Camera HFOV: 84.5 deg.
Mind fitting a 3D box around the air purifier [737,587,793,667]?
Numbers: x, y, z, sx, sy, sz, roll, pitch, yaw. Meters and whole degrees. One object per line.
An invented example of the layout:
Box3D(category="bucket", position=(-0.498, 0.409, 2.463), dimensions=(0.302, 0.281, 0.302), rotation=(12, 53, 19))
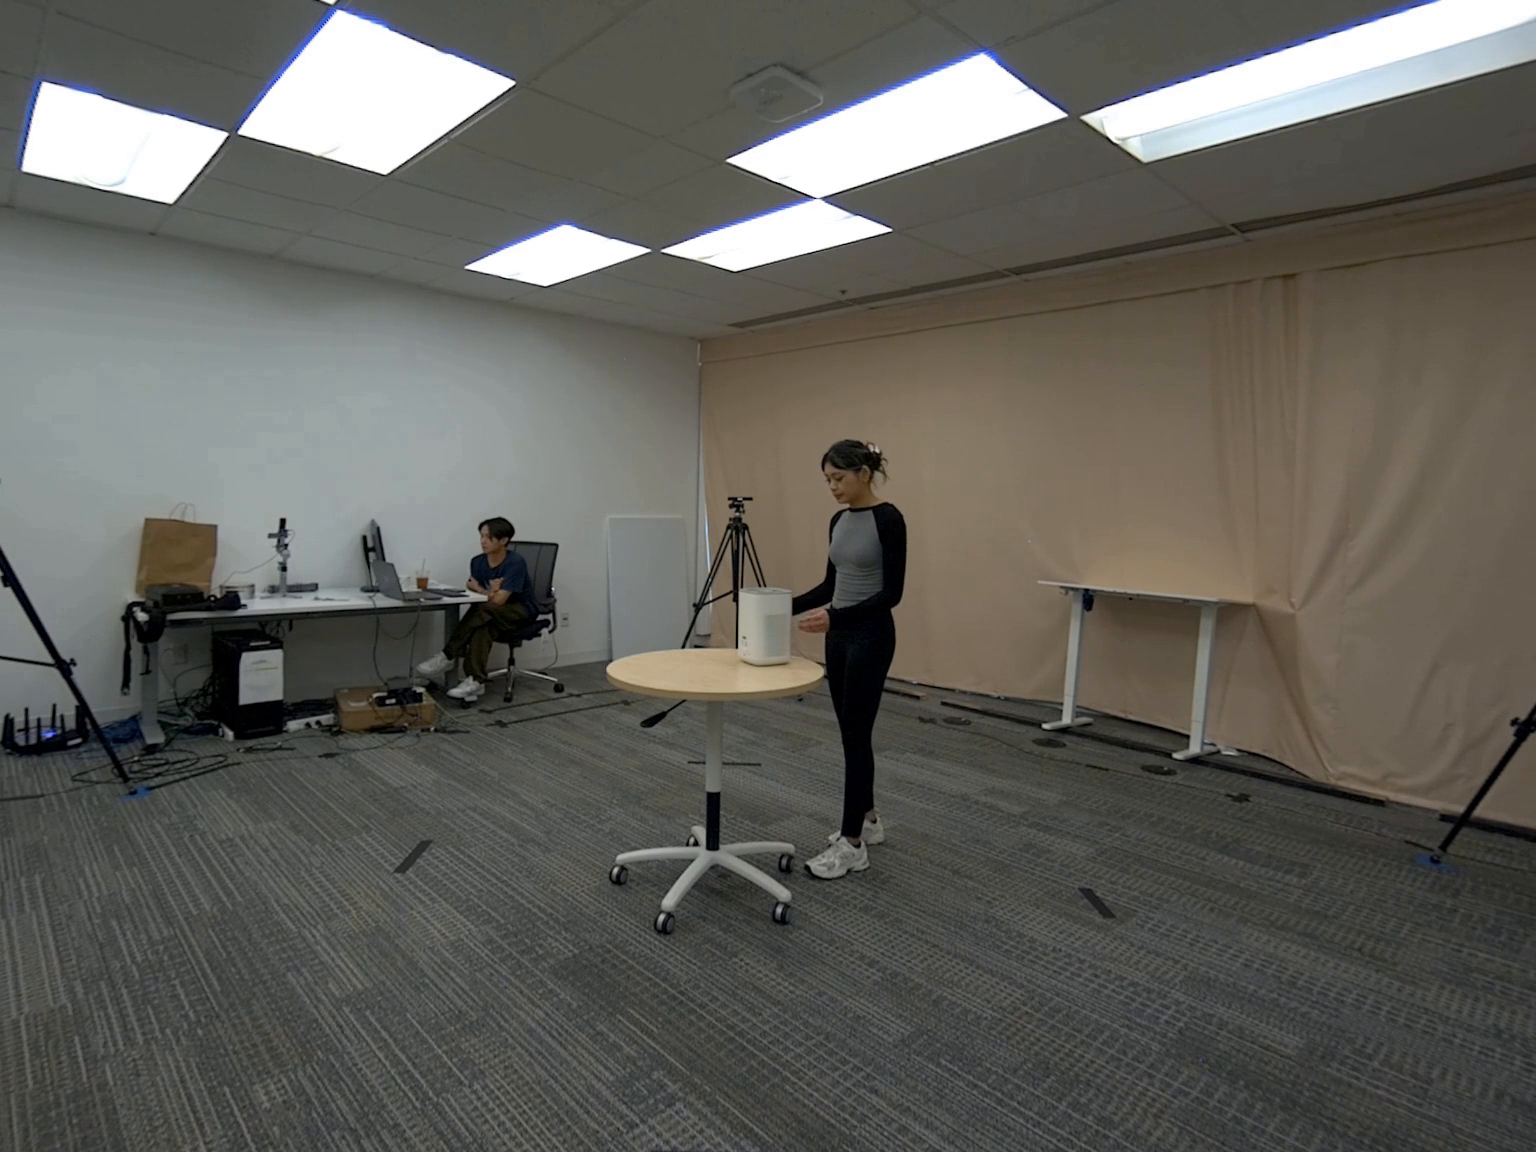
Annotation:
Box3D(category="air purifier", position=(-0.019, 0.183, 3.082), dimensions=(0.168, 0.265, 0.175), rotation=(-3, 3, -24))
